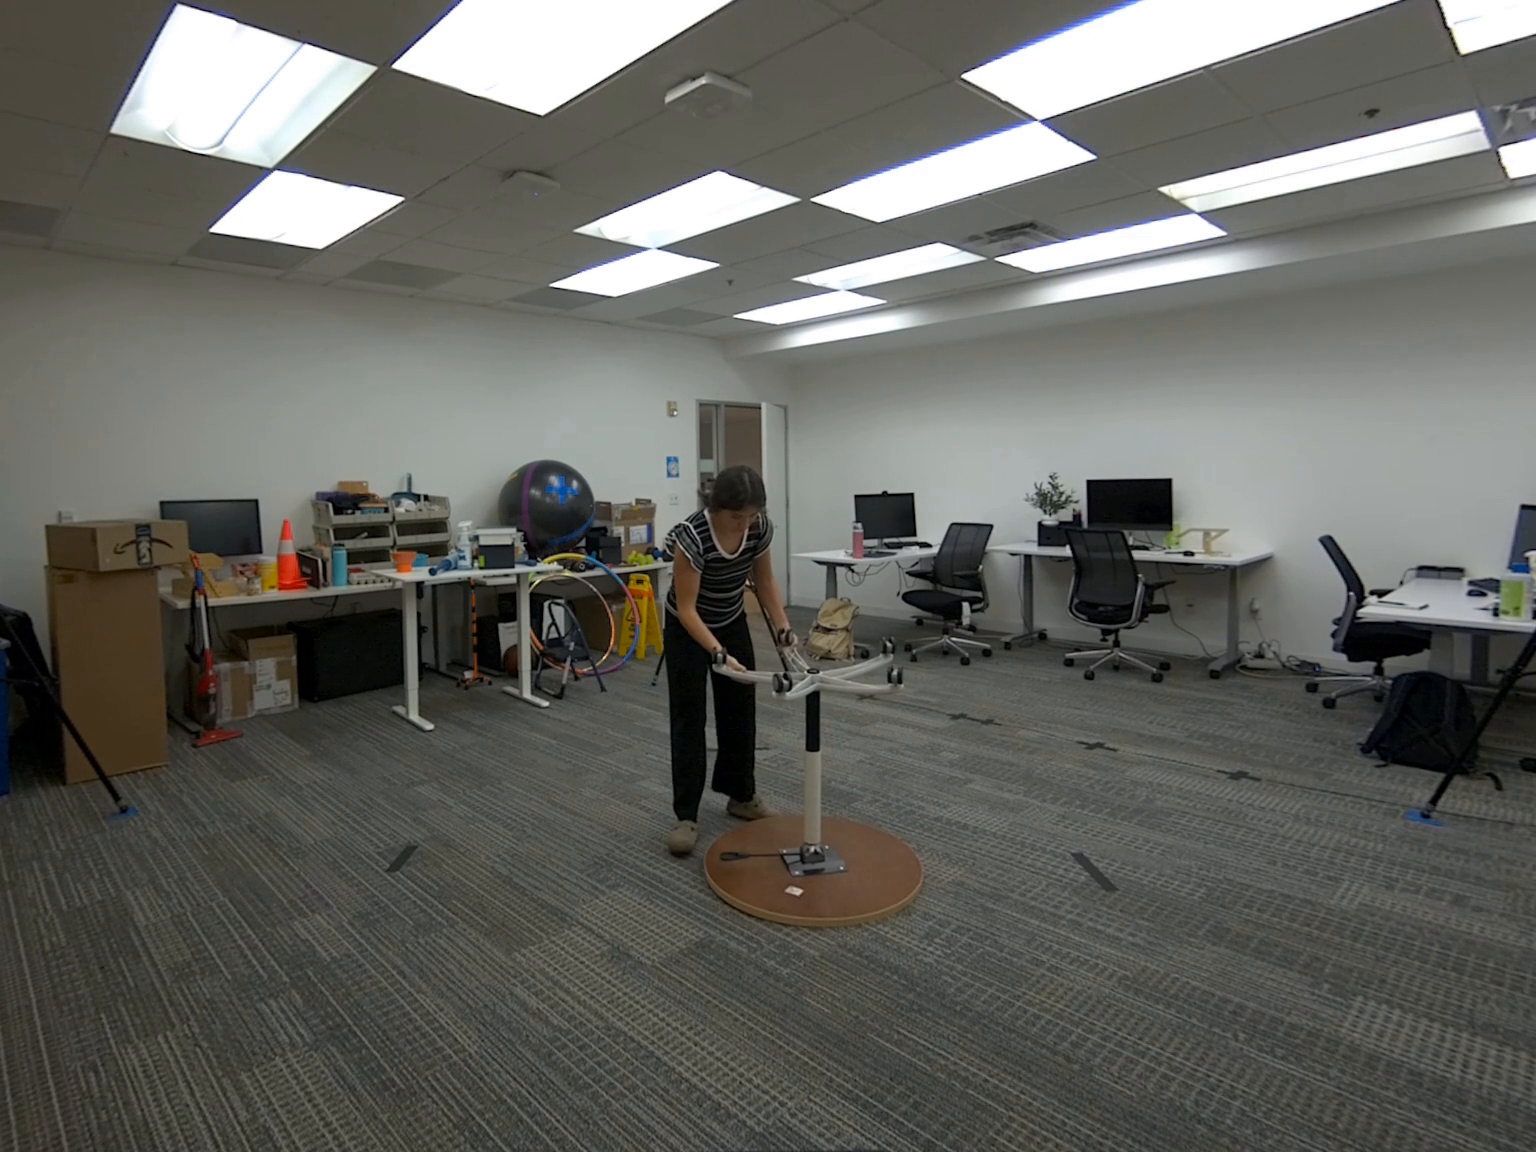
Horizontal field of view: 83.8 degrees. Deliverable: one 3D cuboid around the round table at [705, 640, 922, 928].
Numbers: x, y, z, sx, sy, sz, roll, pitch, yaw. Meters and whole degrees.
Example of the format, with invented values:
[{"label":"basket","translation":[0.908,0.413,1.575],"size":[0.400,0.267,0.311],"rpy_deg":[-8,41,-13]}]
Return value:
[{"label":"round table","translation":[0.164,0.653,2.997],"size":[0.763,0.789,0.769],"rpy_deg":[0,7,-2]}]
